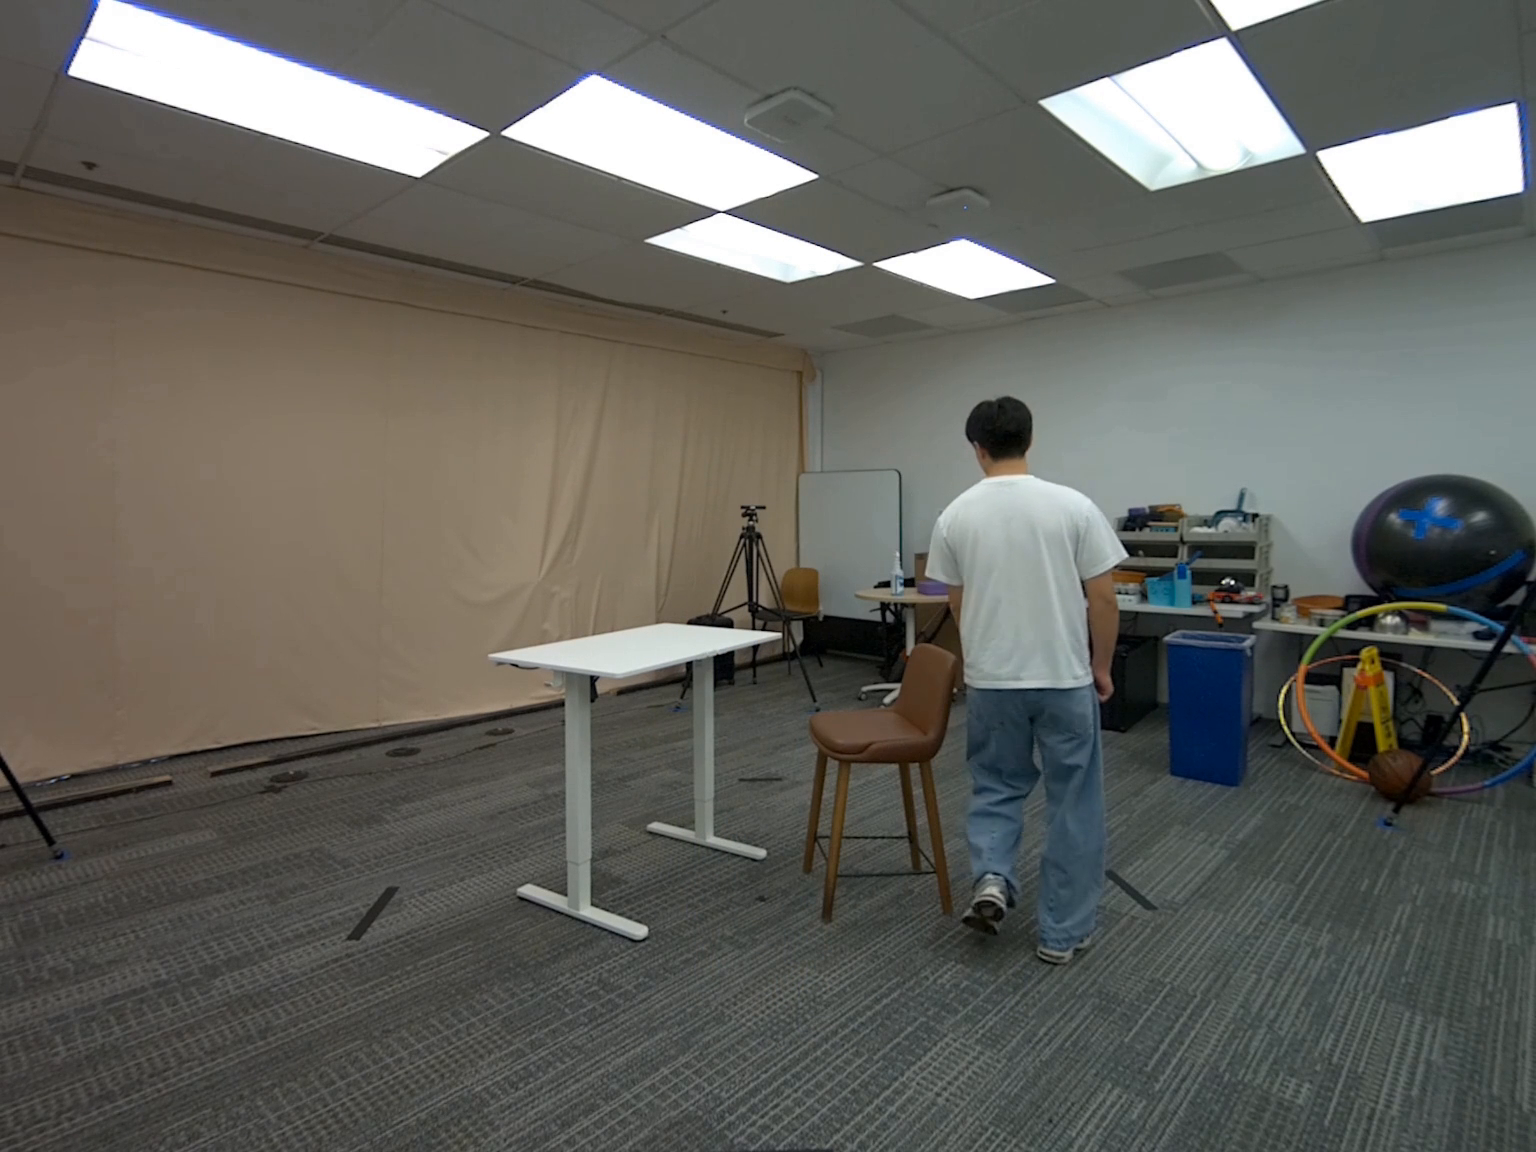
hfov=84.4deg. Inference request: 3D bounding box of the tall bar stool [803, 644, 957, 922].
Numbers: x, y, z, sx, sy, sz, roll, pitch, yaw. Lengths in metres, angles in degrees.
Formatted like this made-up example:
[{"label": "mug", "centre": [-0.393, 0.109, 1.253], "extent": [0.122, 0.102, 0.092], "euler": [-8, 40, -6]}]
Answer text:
[{"label": "tall bar stool", "centre": [0.392, 0.705, 2.995], "extent": [0.464, 0.888, 0.461], "euler": [1, 3, -7]}]
